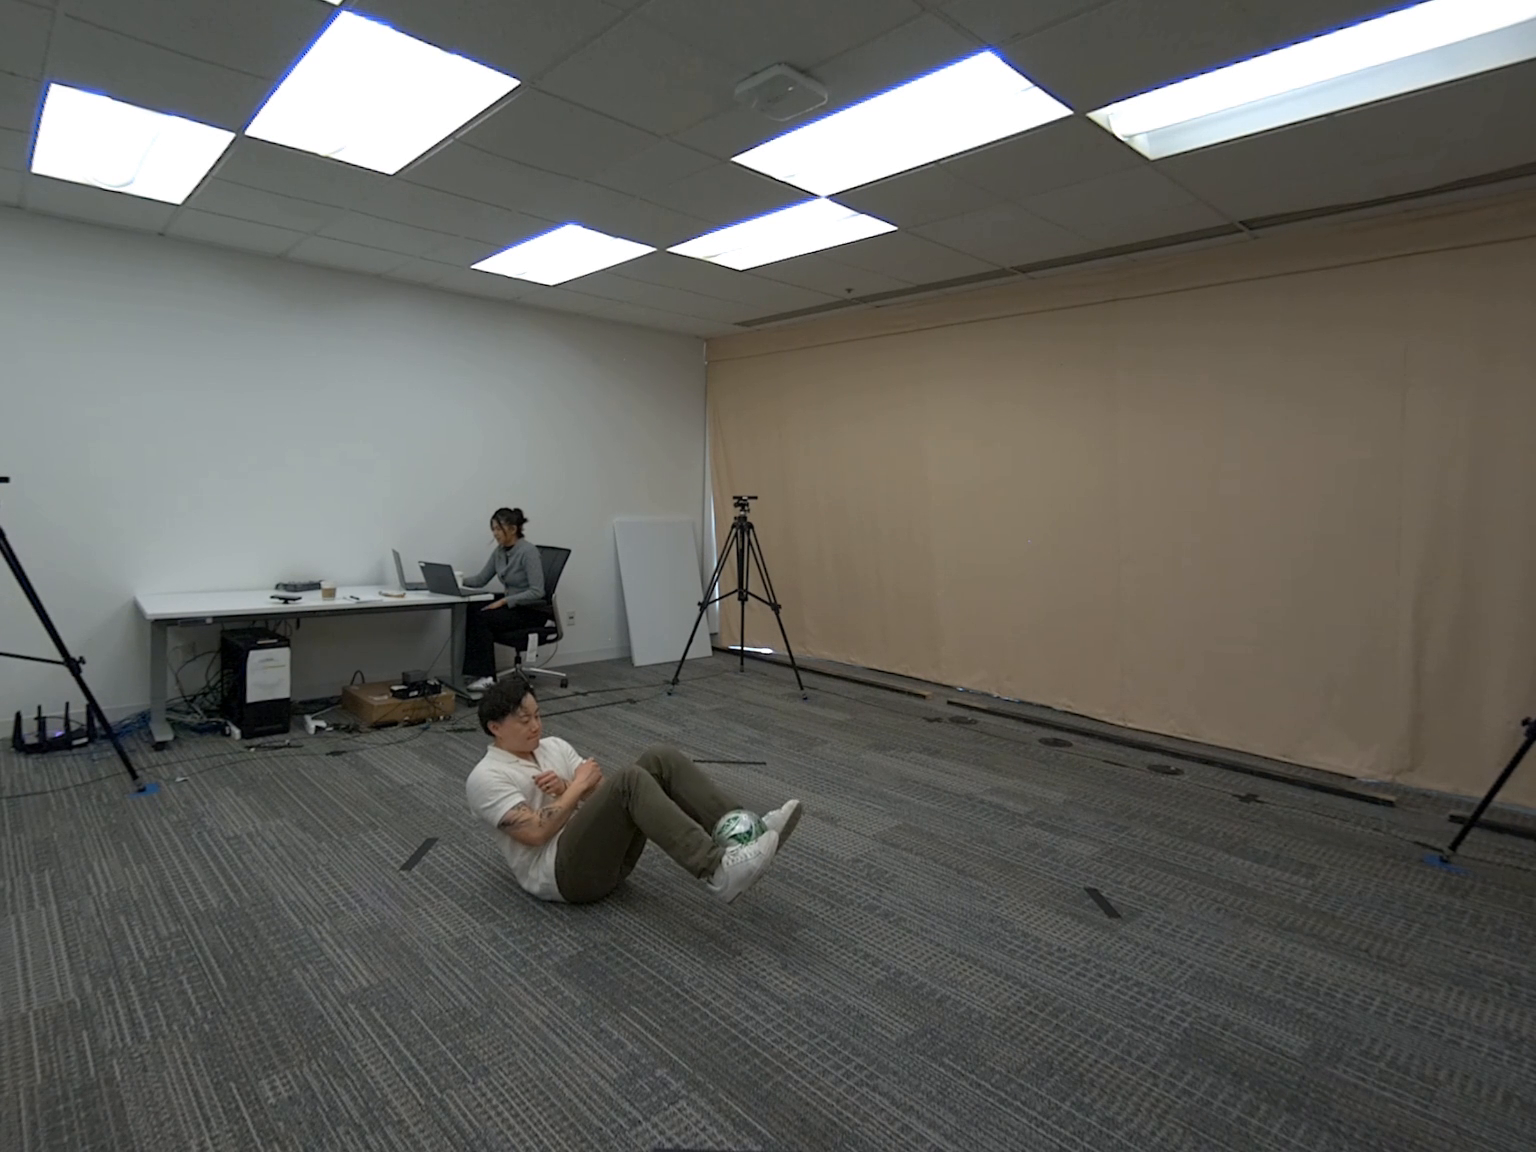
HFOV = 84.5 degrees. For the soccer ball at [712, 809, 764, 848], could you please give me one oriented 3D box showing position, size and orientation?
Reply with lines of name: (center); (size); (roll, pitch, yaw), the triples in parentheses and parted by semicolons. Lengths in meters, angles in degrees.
soccer ball: (-0.099, 0.854, 2.694); (0.187, 0.187, 0.188); (1, 4, -1)
